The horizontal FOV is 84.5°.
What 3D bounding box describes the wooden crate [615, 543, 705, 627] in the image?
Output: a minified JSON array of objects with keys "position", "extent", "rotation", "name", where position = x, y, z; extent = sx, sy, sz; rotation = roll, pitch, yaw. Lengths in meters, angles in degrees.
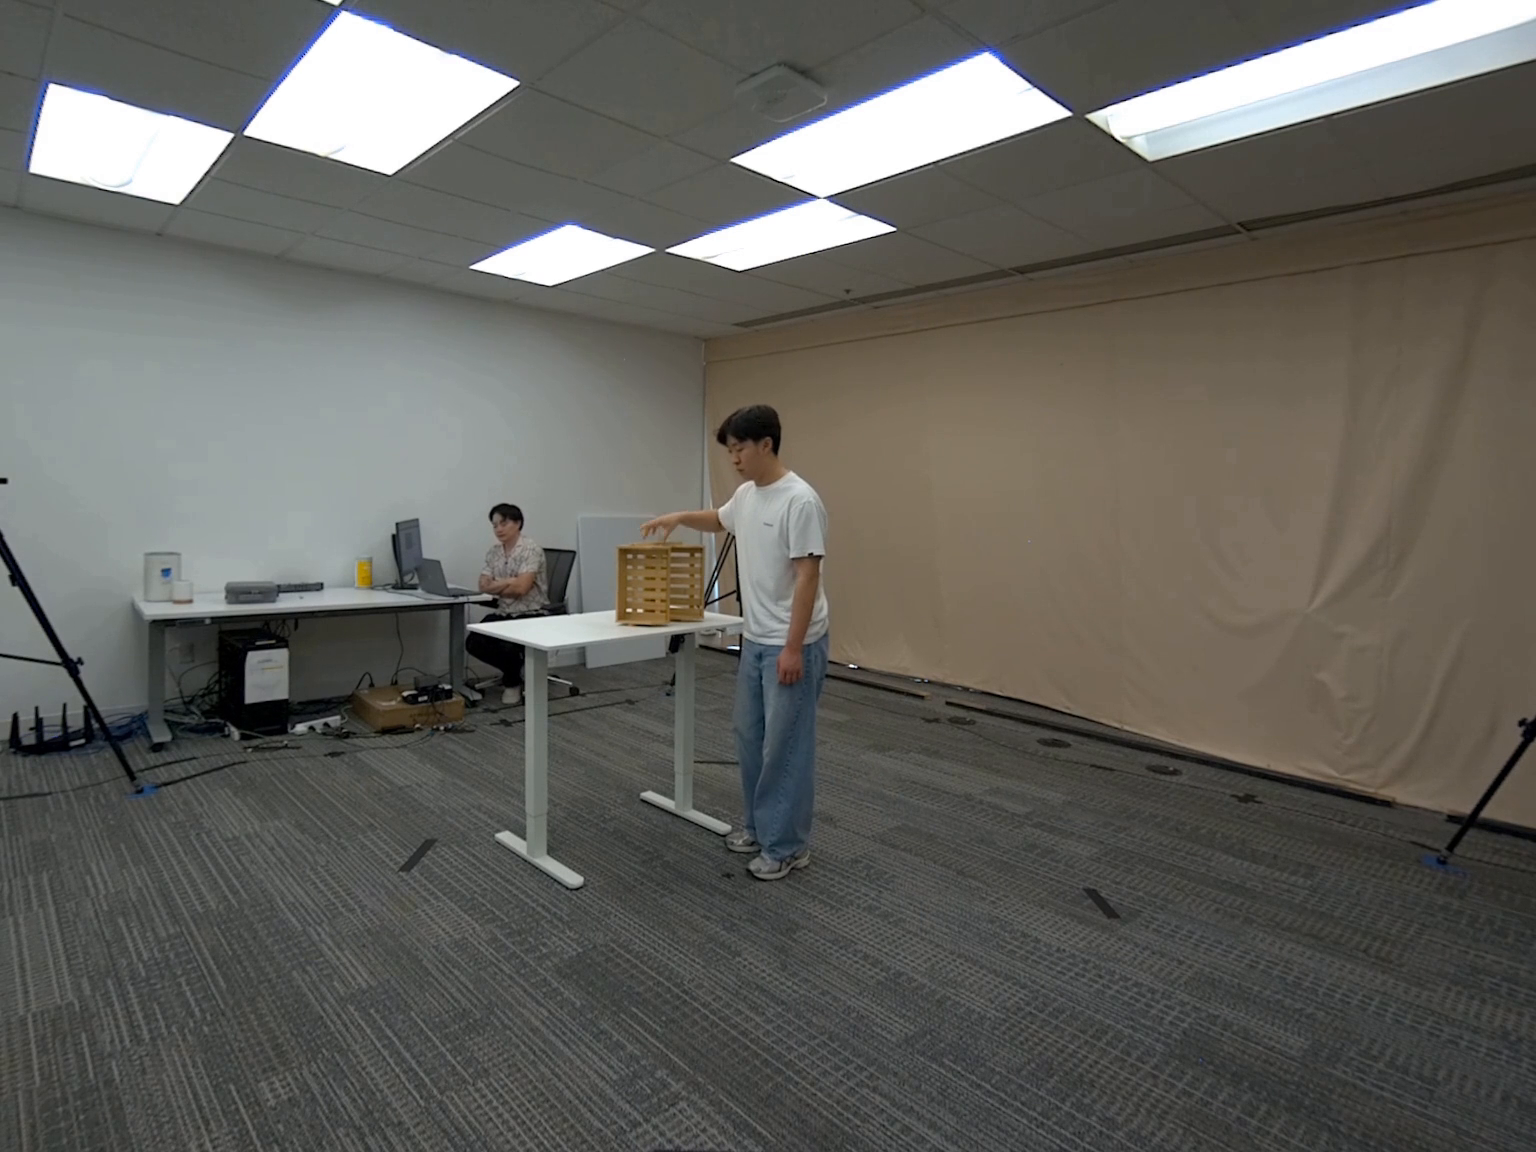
[{"position":[-0.426,0.032,3.378],"extent":[0.305,0.324,0.271],"rotation":[2,4,13],"name":"wooden crate"}]
